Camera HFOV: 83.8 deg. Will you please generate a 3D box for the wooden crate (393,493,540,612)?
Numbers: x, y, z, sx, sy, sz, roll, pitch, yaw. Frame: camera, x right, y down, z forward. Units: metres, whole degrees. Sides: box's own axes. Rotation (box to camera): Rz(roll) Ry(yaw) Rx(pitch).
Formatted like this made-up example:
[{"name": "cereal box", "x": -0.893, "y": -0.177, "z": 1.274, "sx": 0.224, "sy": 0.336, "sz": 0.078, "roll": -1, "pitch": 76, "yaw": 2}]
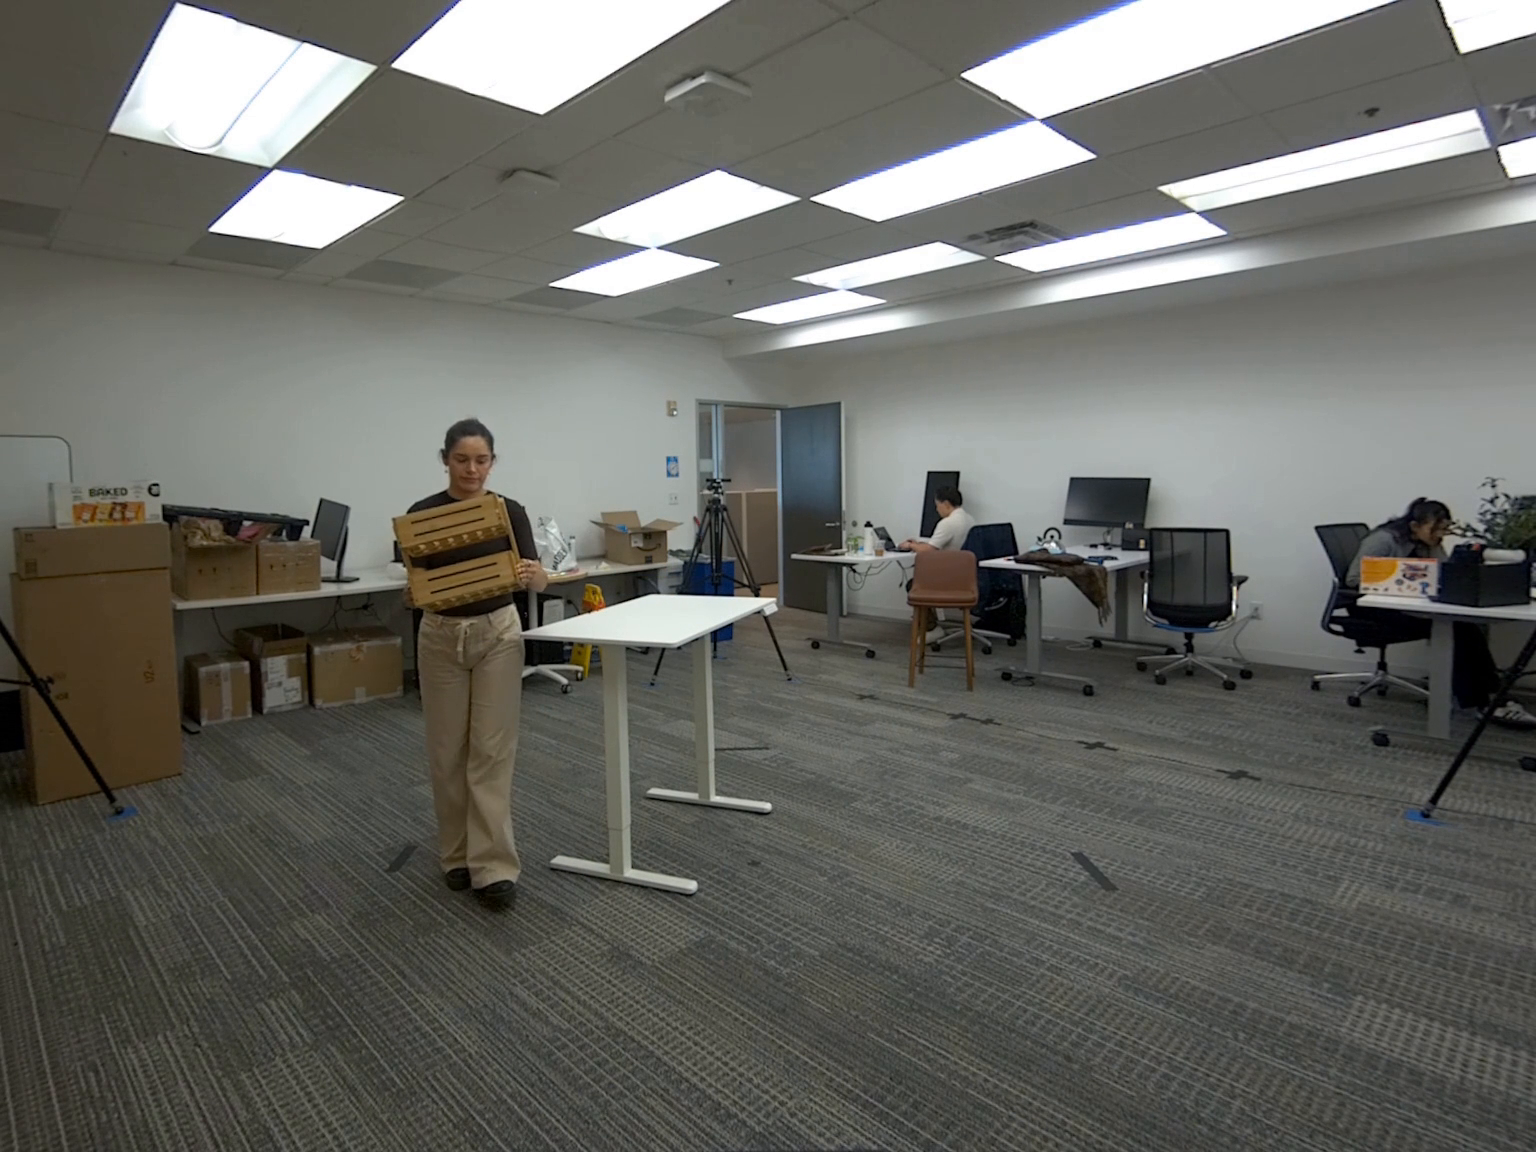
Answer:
[{"name": "wooden crate", "x": -0.931, "y": -0.069, "z": 2.618, "sx": 0.322, "sy": 0.275, "sz": 0.302, "roll": -15, "pitch": -5, "yaw": -9}]
